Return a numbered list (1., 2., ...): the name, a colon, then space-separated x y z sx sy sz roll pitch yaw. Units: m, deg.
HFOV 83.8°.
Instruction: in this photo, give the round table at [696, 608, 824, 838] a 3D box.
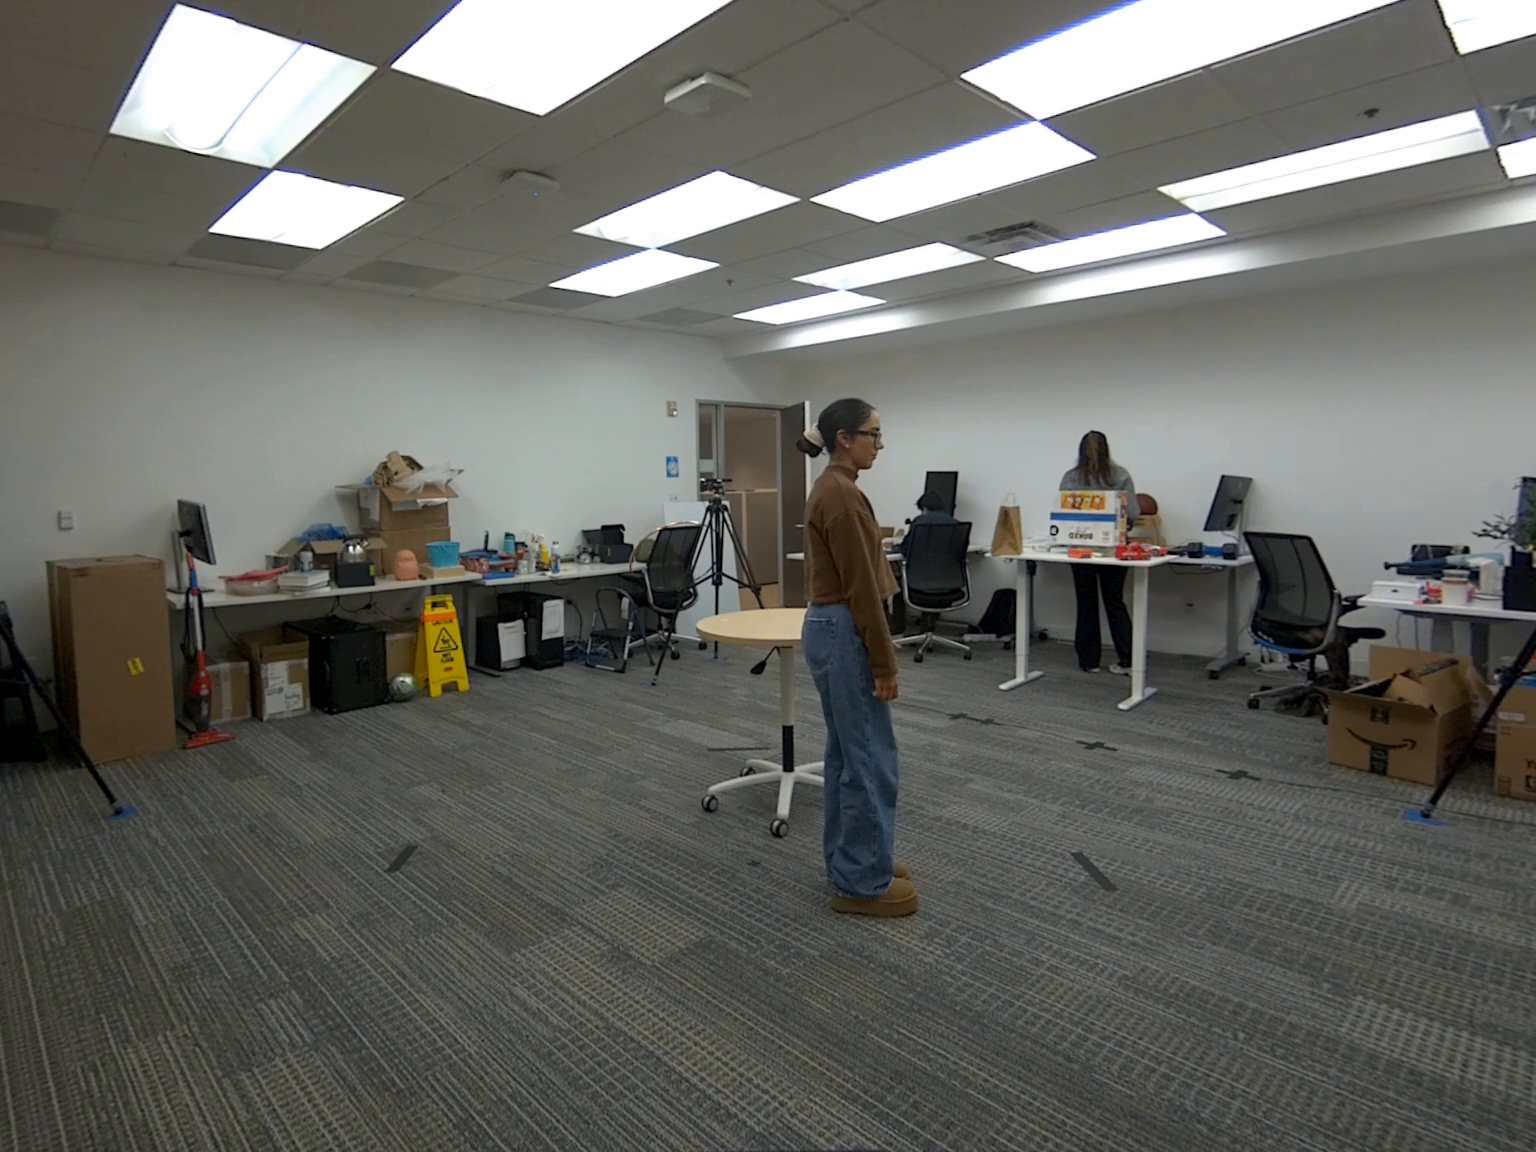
1. round table: 0.078 0.588 3.676 0.784 0.783 0.789 -1 5 -2
